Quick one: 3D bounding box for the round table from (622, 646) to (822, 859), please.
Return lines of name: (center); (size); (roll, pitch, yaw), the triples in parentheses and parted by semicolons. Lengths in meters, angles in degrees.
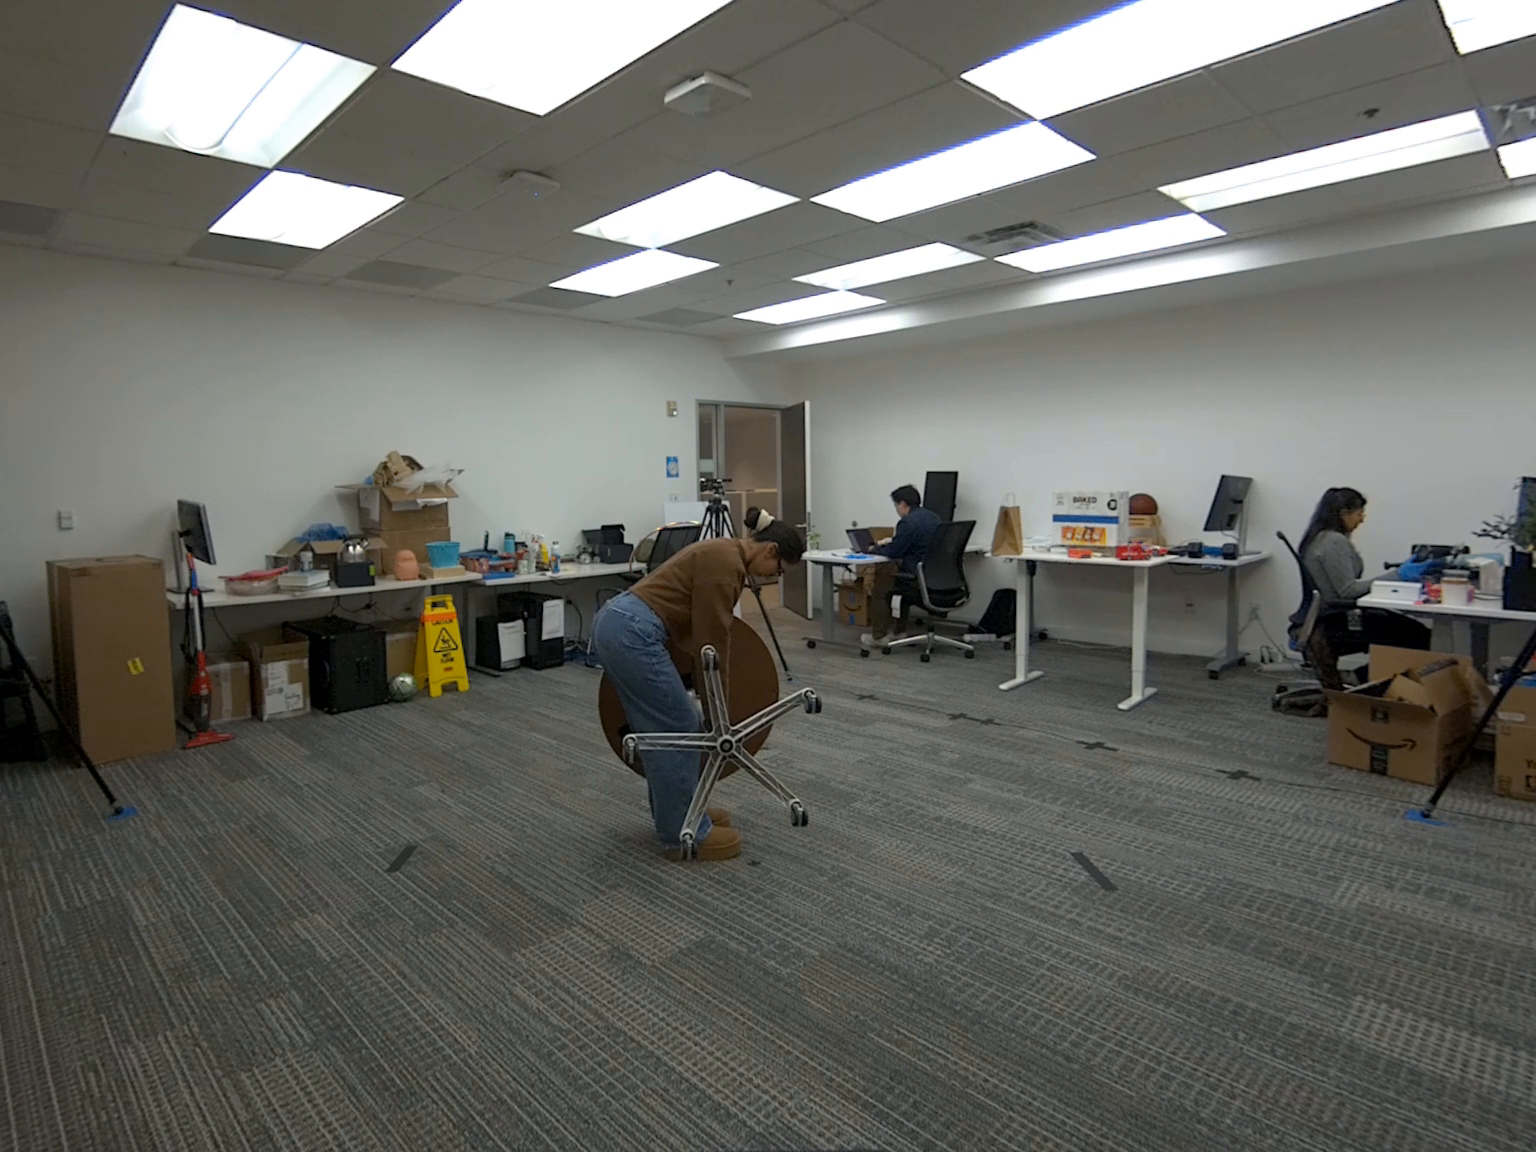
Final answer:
round table: (-0.222, 0.553, 3.181); (0.755, 0.760, 0.808); (-2, 6, -14)
